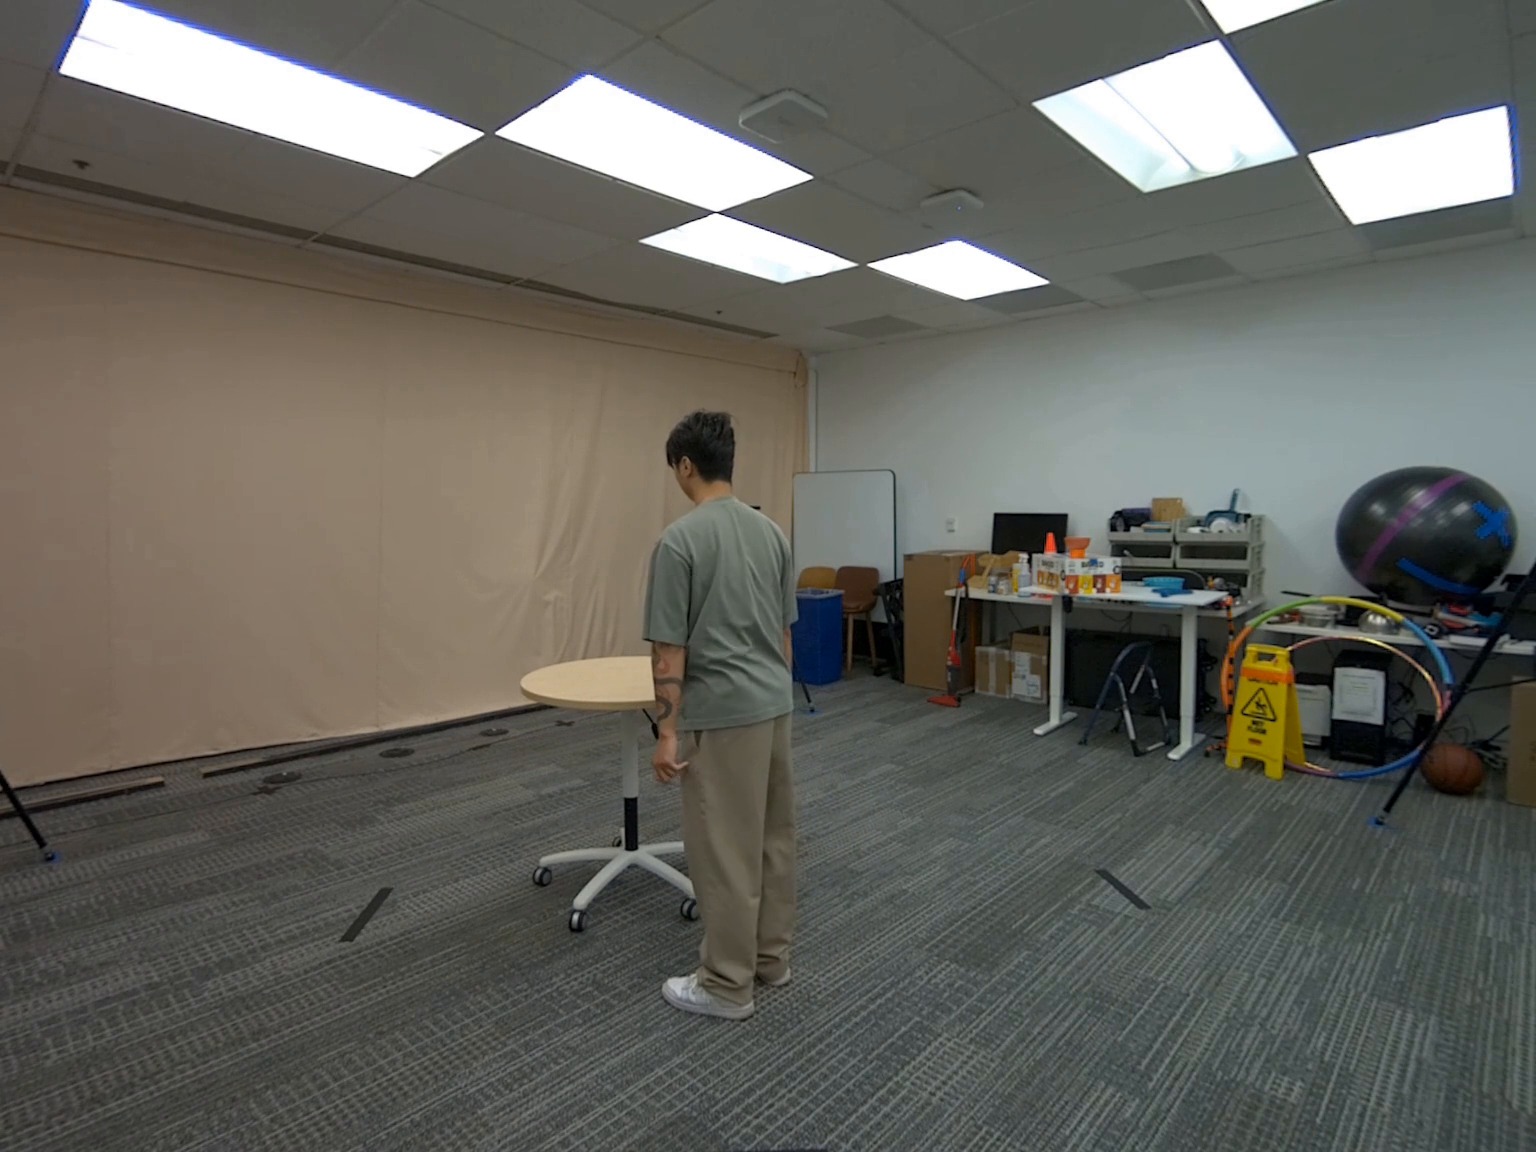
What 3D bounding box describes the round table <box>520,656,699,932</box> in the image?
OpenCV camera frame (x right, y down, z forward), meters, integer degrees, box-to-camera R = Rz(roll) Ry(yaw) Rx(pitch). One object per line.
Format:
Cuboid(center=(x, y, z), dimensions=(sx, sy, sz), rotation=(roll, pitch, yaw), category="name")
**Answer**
Cuboid(center=(-0.502, 0.751, 3.077), dimensions=(0.784, 0.784, 0.788), rotation=(-1, 4, -2), category="round table")
